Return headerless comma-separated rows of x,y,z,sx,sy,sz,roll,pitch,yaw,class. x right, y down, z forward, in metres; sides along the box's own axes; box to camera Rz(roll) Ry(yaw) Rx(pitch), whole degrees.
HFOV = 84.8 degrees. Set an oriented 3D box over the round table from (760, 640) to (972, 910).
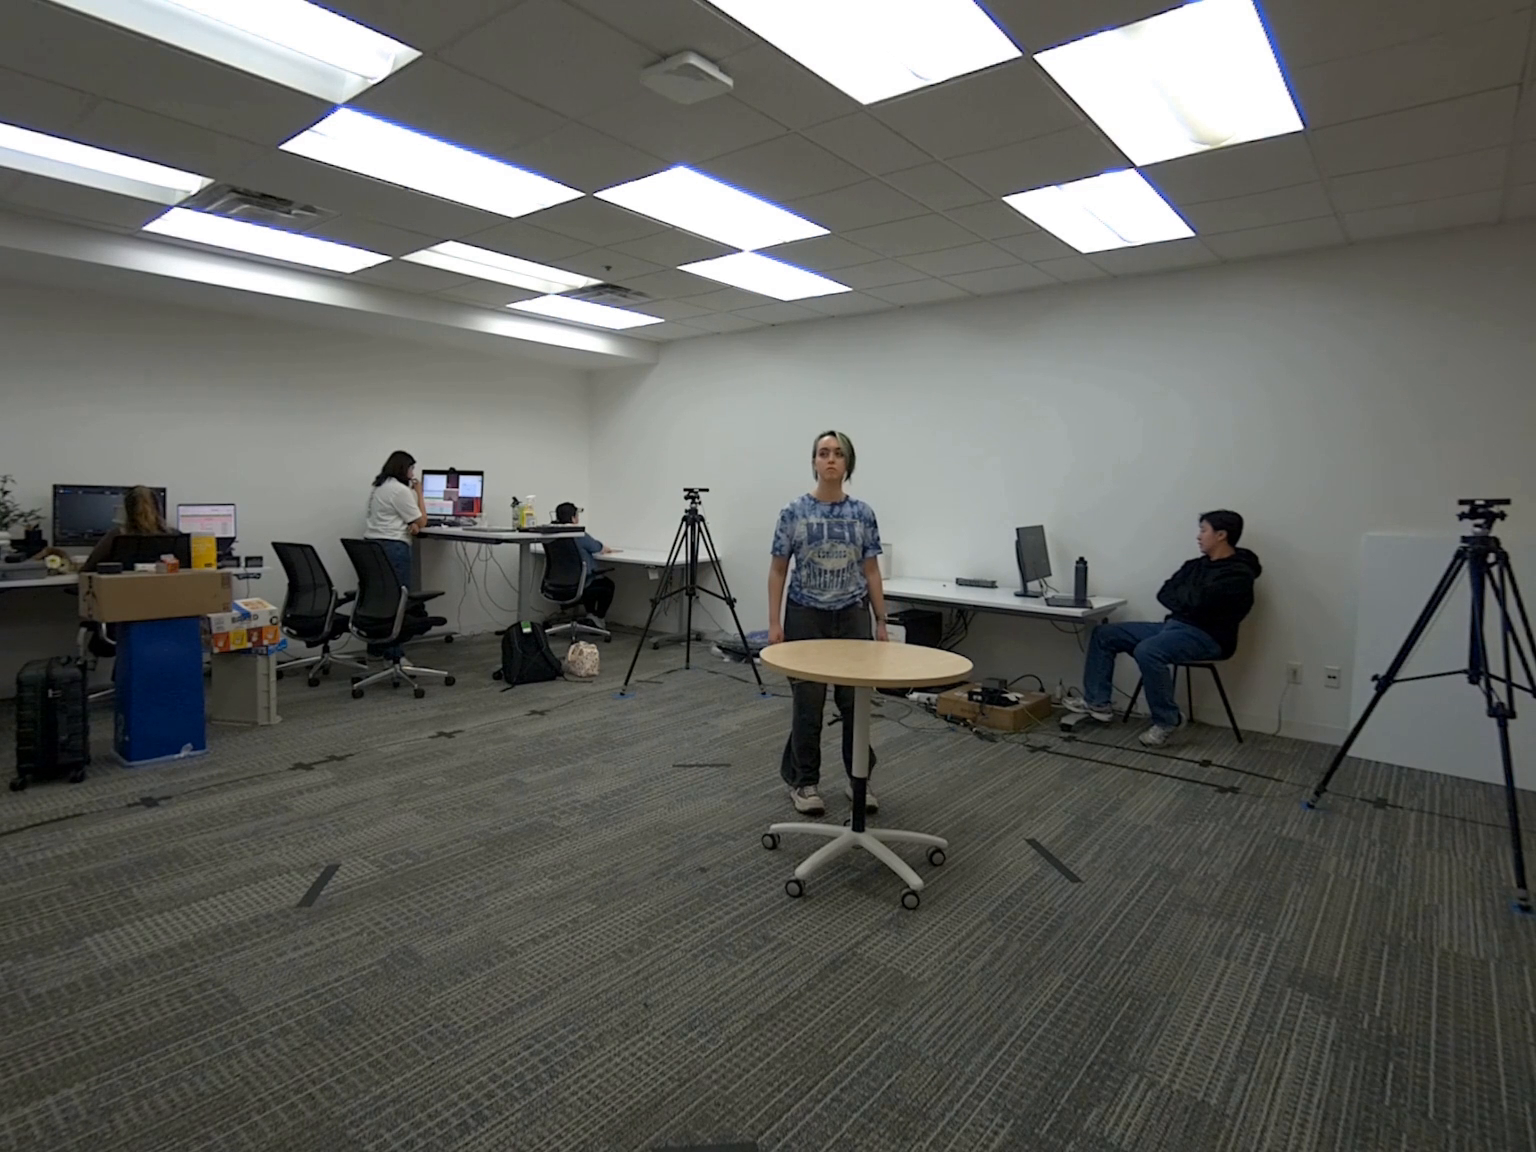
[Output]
0.329,0.689,3.140,0.763,0.791,0.768,1,4,-2,round table
